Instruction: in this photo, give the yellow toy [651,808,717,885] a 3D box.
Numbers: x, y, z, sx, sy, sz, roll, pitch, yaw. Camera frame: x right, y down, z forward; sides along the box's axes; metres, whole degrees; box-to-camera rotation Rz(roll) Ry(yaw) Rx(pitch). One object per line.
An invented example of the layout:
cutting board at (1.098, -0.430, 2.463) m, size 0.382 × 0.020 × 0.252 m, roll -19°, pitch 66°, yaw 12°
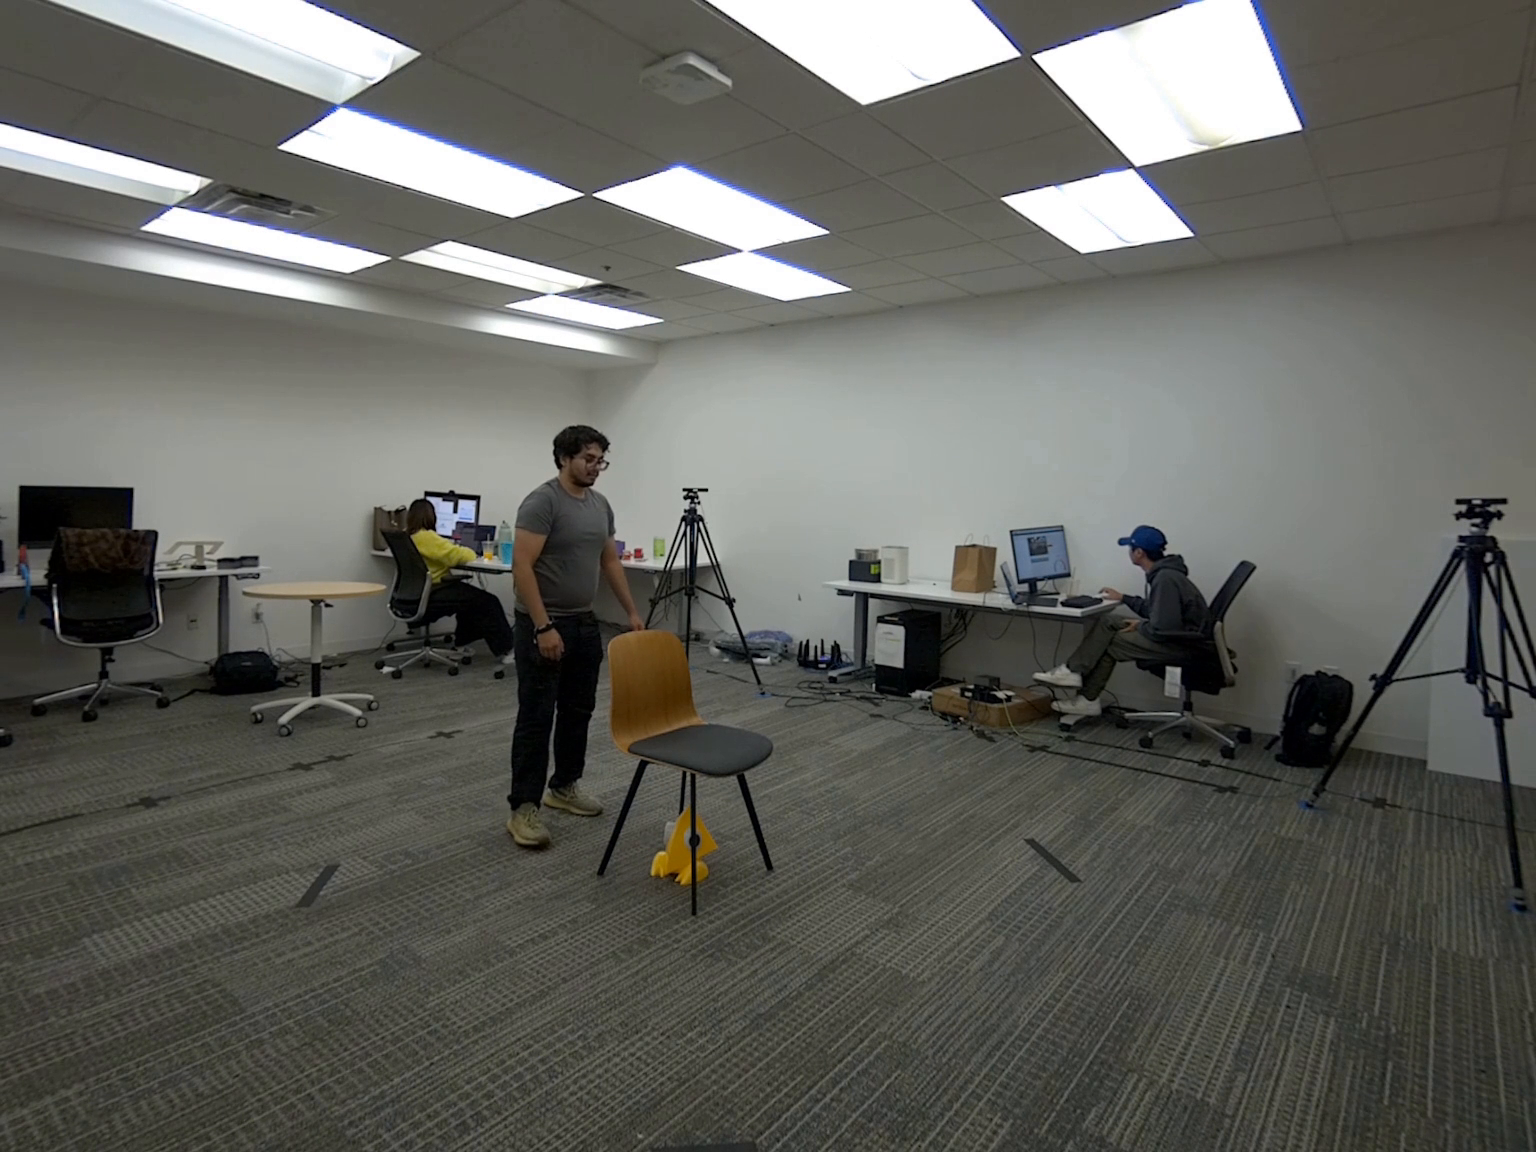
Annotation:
yellow toy at (-0.326, 0.955, 3.087) m, size 0.211 × 0.230 × 0.188 m, roll 3°, pitch 4°, yaw 29°
